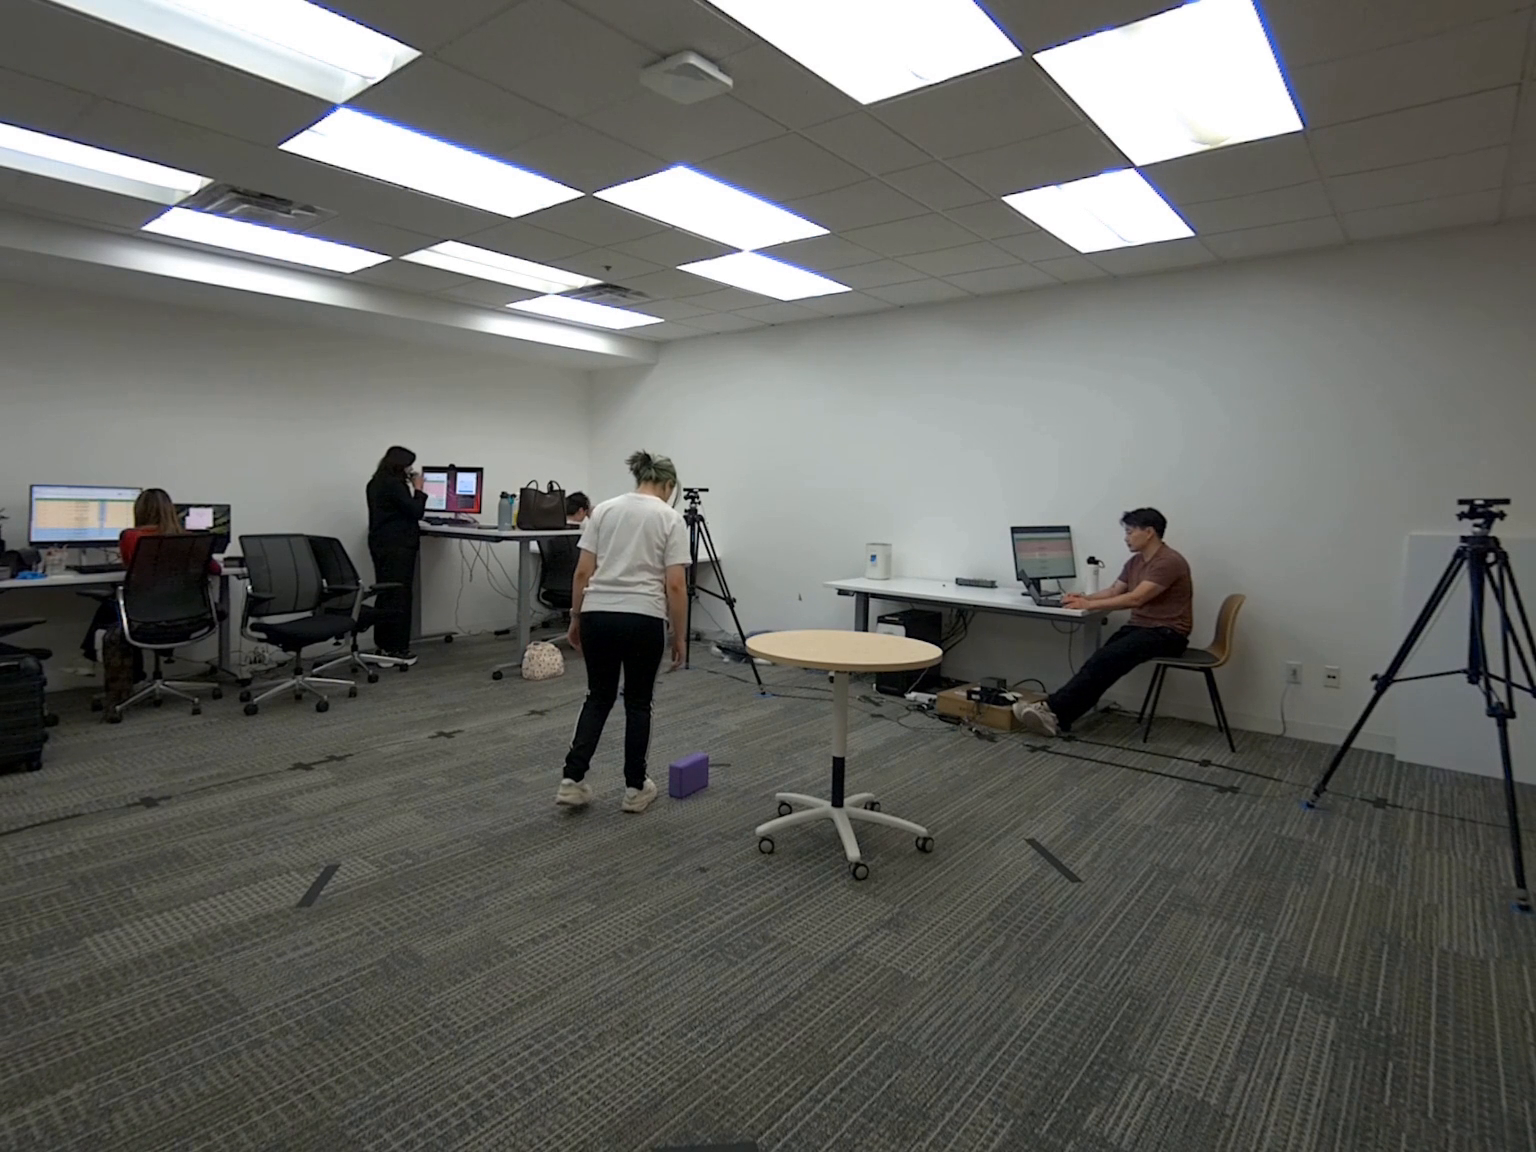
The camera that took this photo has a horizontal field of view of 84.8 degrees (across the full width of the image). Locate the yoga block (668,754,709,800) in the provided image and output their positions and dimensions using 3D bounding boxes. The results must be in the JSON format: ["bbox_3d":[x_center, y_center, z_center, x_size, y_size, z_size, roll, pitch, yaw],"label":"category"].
[{"bbox_3d":[-0.376,0.911,3.921,0.079,0.148,0.223,4,4,31],"label":"yoga block"}]
